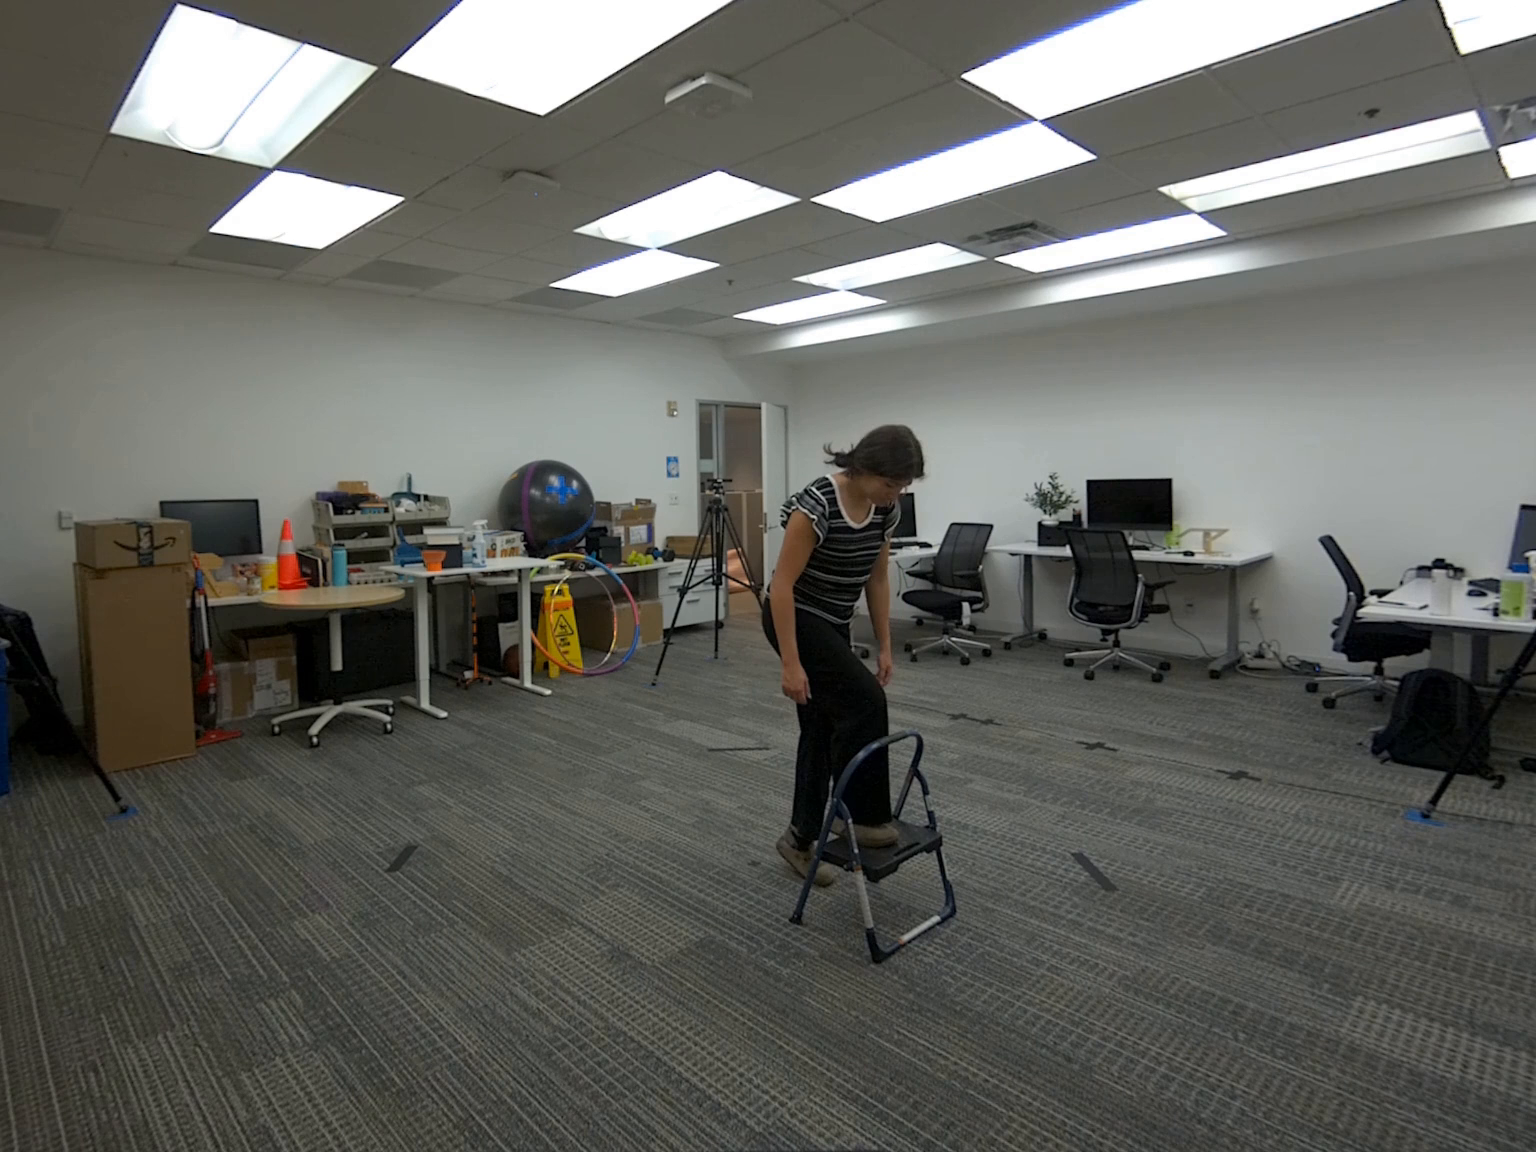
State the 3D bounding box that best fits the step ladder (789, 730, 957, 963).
[{"bbox_3d":[0.335,0.786,2.690,0.360,0.604,0.419,3,6,45],"label":"step ladder"}]
